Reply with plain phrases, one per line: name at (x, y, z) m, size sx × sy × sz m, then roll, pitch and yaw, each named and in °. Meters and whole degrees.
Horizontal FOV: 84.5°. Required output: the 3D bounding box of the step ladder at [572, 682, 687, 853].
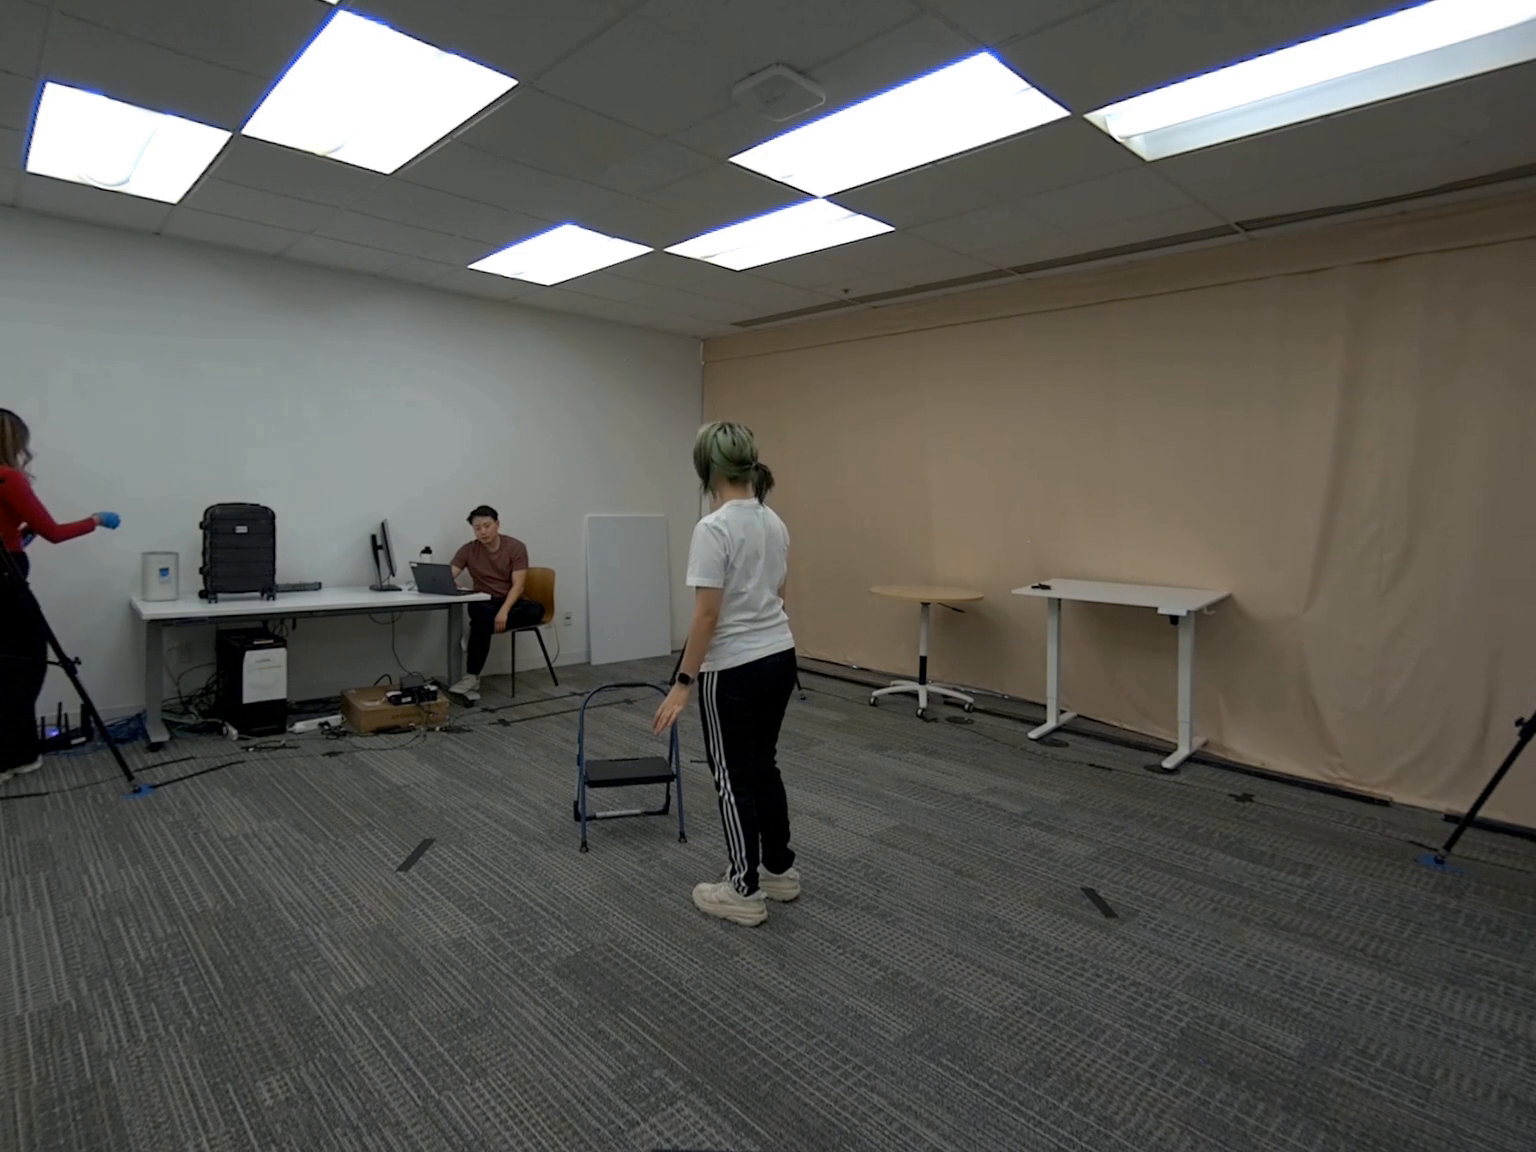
step ladder at (-0.582, 0.757, 3.483) m, size 0.425 × 0.605 × 0.355 m, roll 0°, pitch 3°, yaw -18°
